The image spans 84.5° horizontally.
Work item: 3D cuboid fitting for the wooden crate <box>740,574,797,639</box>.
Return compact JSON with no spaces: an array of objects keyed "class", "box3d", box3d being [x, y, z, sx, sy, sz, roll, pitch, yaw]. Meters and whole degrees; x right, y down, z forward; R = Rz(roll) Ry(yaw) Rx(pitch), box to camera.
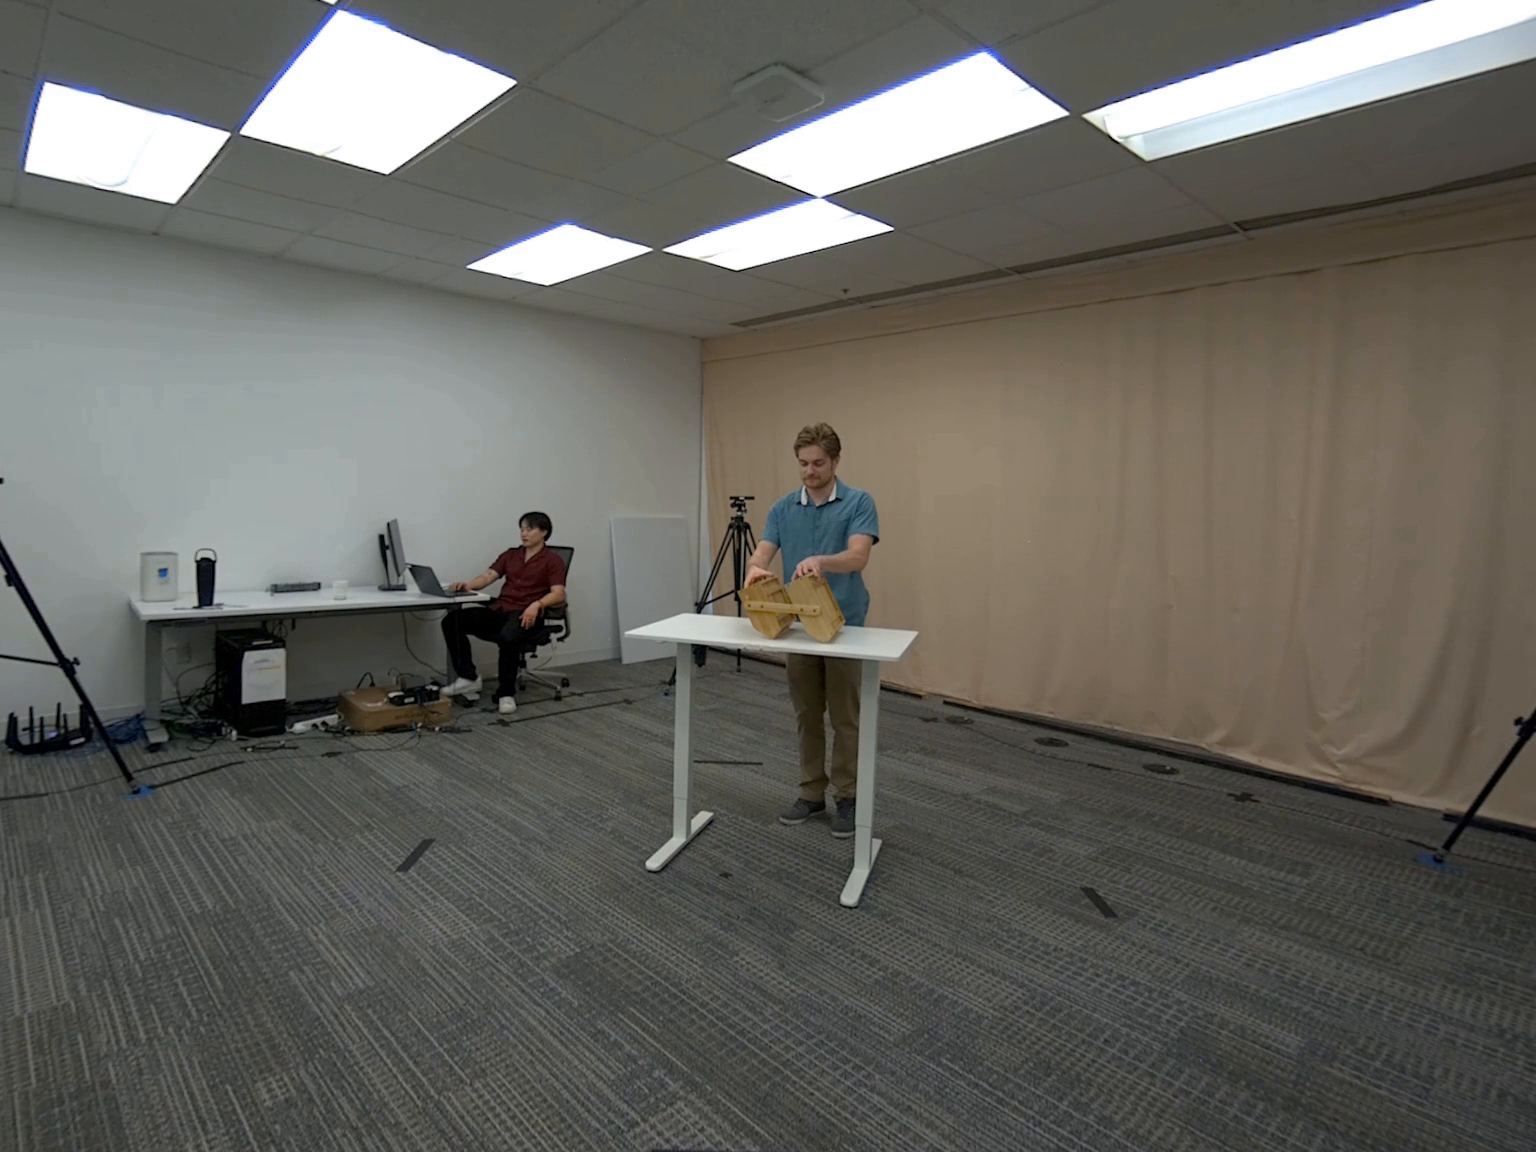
[{"class":"wooden crate","box3d":[0.082,0.126,3.170,0.275,0.303,0.321,-24,-3,14]}]
